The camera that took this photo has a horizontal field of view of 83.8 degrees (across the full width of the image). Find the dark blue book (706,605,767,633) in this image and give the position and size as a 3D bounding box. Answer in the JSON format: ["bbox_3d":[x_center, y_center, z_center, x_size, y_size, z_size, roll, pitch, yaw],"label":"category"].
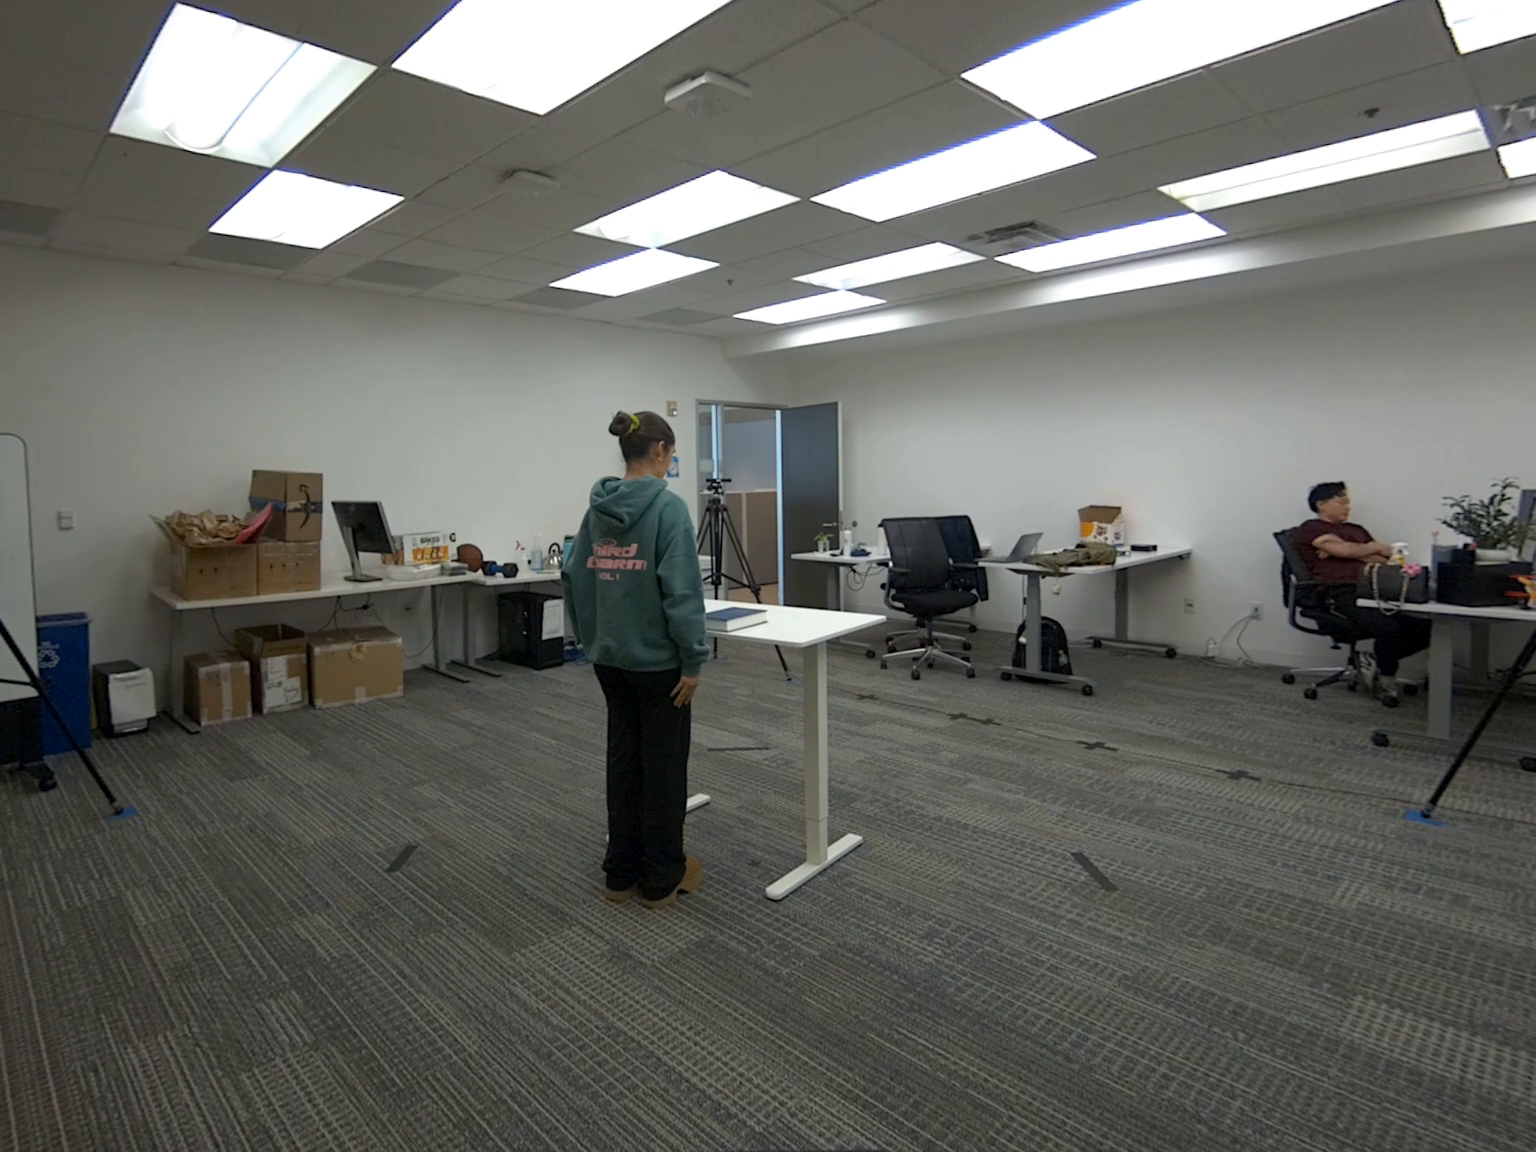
[{"bbox_3d":[-0.129,0.153,3.026,0.168,0.045,0.239,3,7,32],"label":"dark blue book"}]
